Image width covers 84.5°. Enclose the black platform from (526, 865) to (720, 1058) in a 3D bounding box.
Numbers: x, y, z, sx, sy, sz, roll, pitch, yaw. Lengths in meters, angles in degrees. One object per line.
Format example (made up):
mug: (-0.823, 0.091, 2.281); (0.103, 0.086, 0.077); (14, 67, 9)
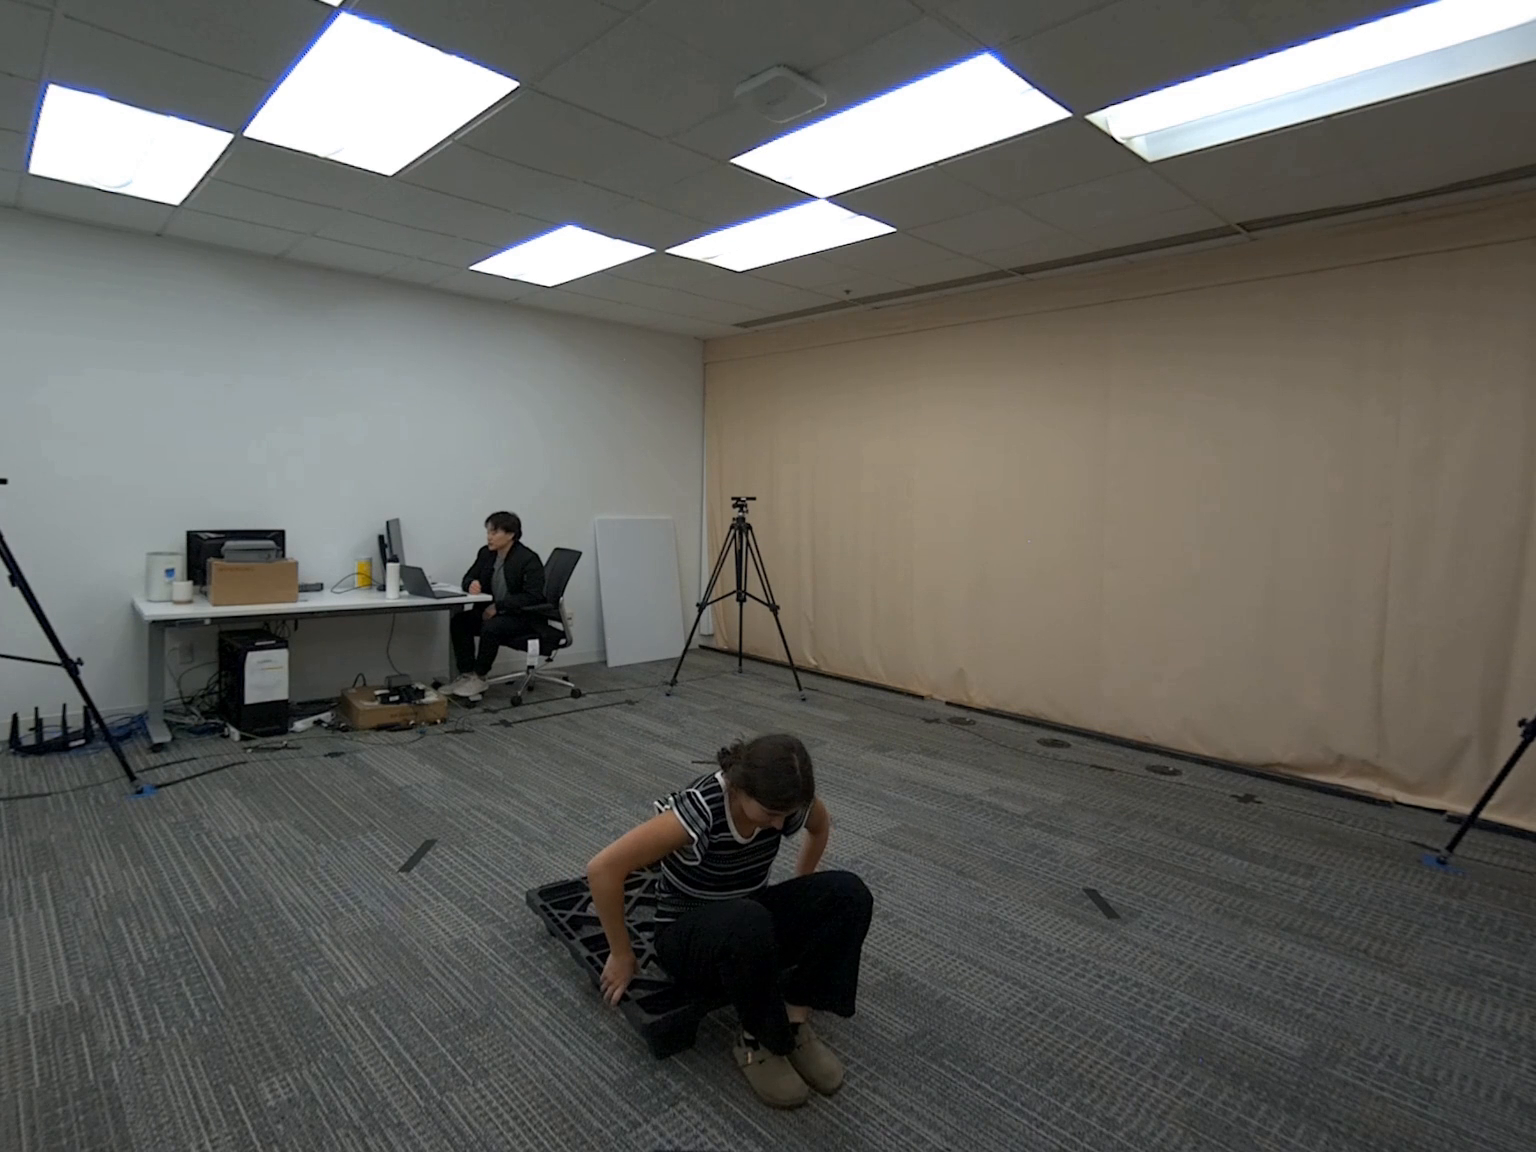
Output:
black platform: (-0.304, 1.090, 2.501); (0.592, 0.143, 0.826); (-4, 8, -35)
